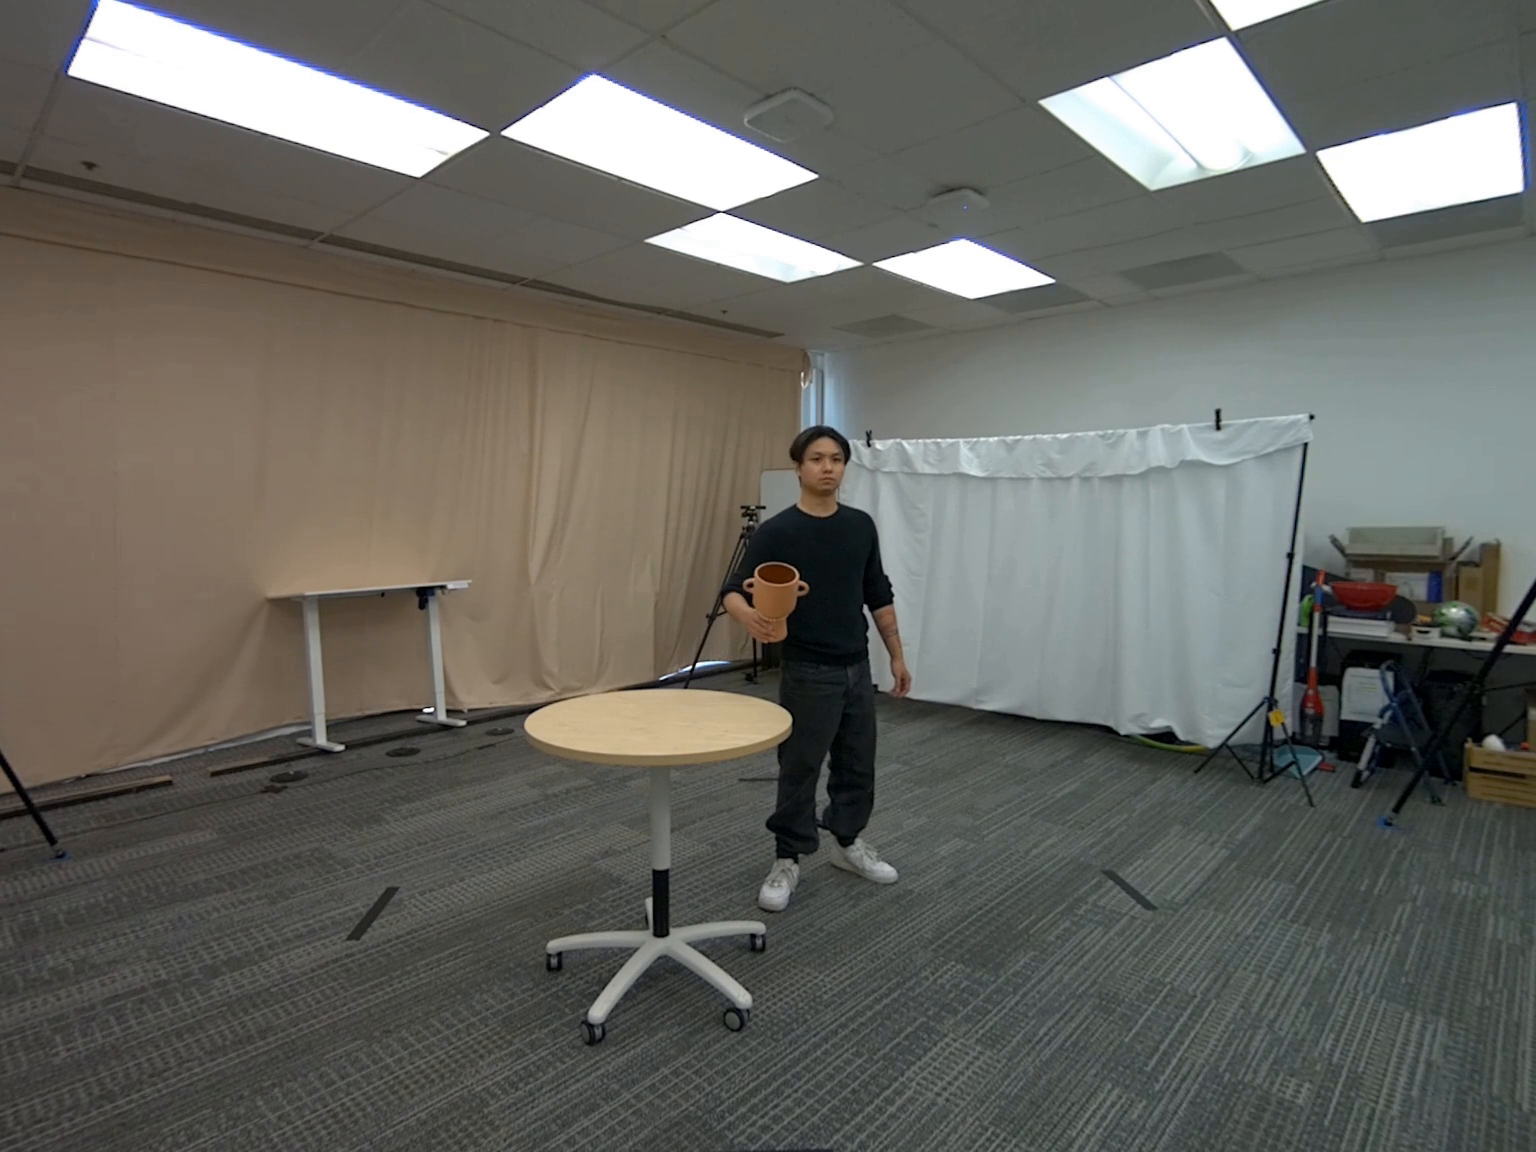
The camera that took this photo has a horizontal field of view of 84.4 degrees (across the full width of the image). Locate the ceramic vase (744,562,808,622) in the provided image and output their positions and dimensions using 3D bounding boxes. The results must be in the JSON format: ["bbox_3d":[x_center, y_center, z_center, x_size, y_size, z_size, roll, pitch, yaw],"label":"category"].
[{"bbox_3d":[0.015,0.087,2.590,0.164,0.216,0.132,25,37,32],"label":"ceramic vase"}]
